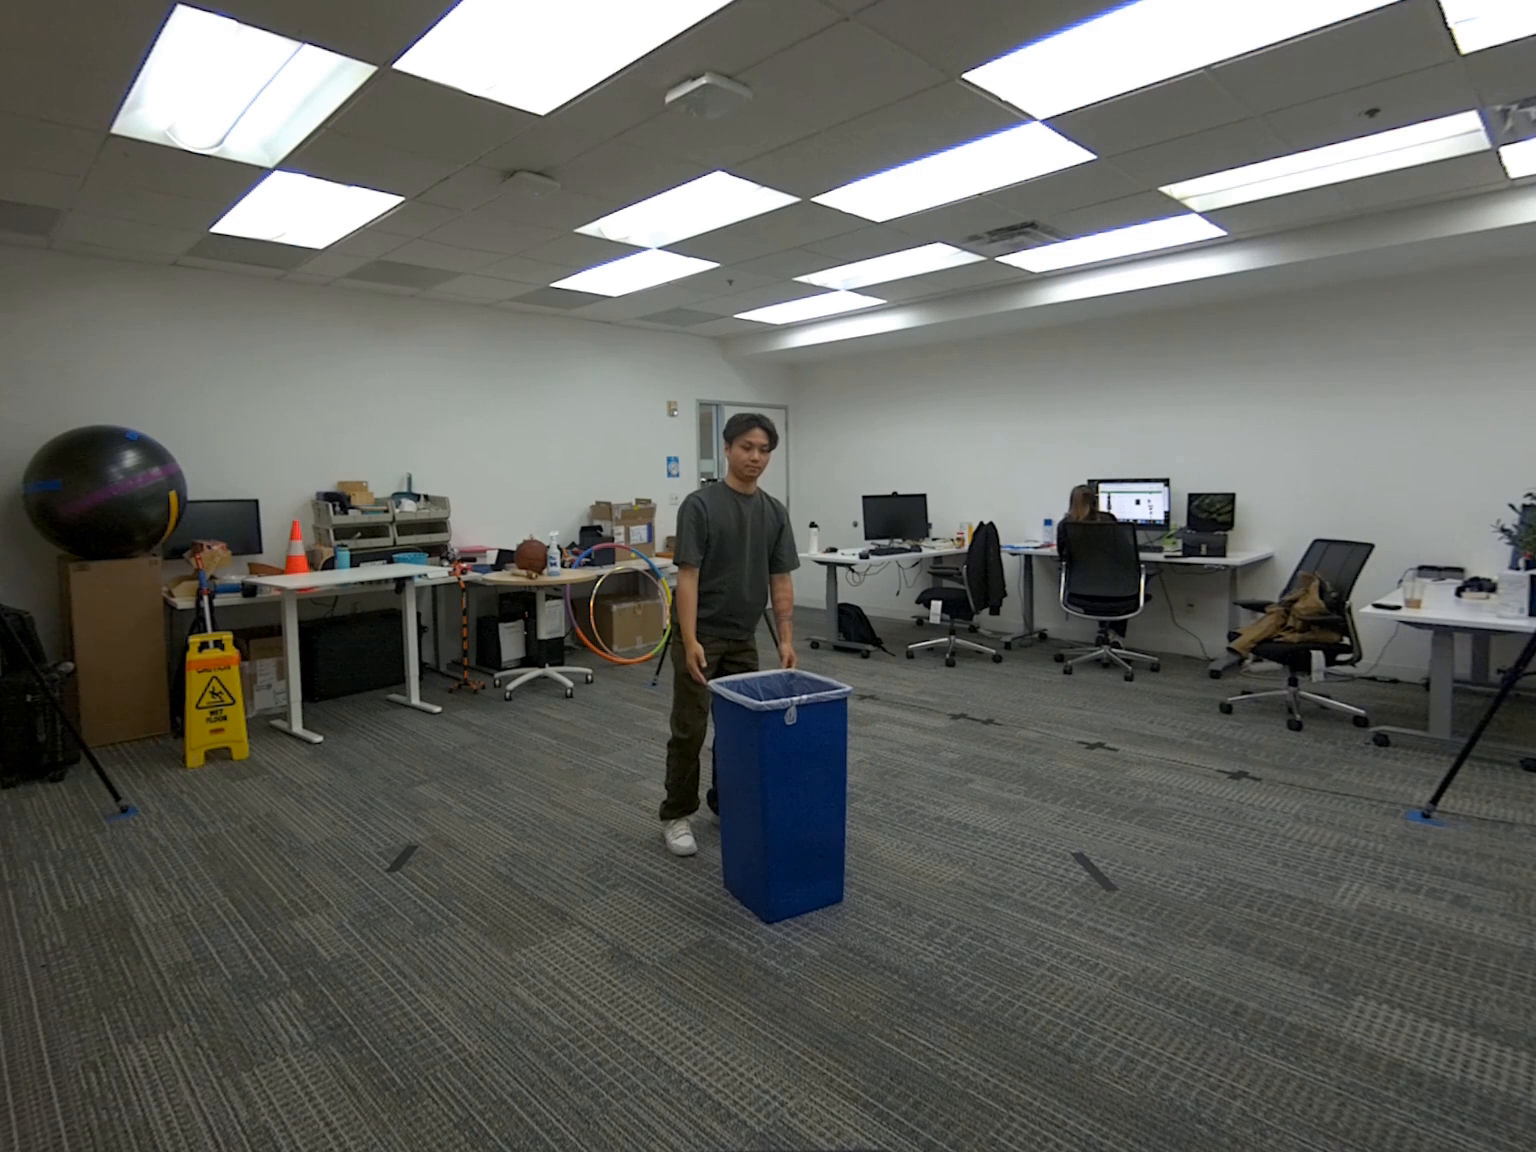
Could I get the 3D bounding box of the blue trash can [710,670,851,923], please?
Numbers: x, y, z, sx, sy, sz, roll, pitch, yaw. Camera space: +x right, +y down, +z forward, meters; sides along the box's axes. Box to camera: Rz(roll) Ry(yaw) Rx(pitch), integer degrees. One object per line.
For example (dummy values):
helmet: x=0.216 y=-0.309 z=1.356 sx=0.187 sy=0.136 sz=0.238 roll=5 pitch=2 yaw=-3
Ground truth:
blue trash can: x=0.050 y=0.714 z=2.862 sx=0.365 sy=0.711 sz=0.388 roll=-4 pitch=5 yaw=-30
